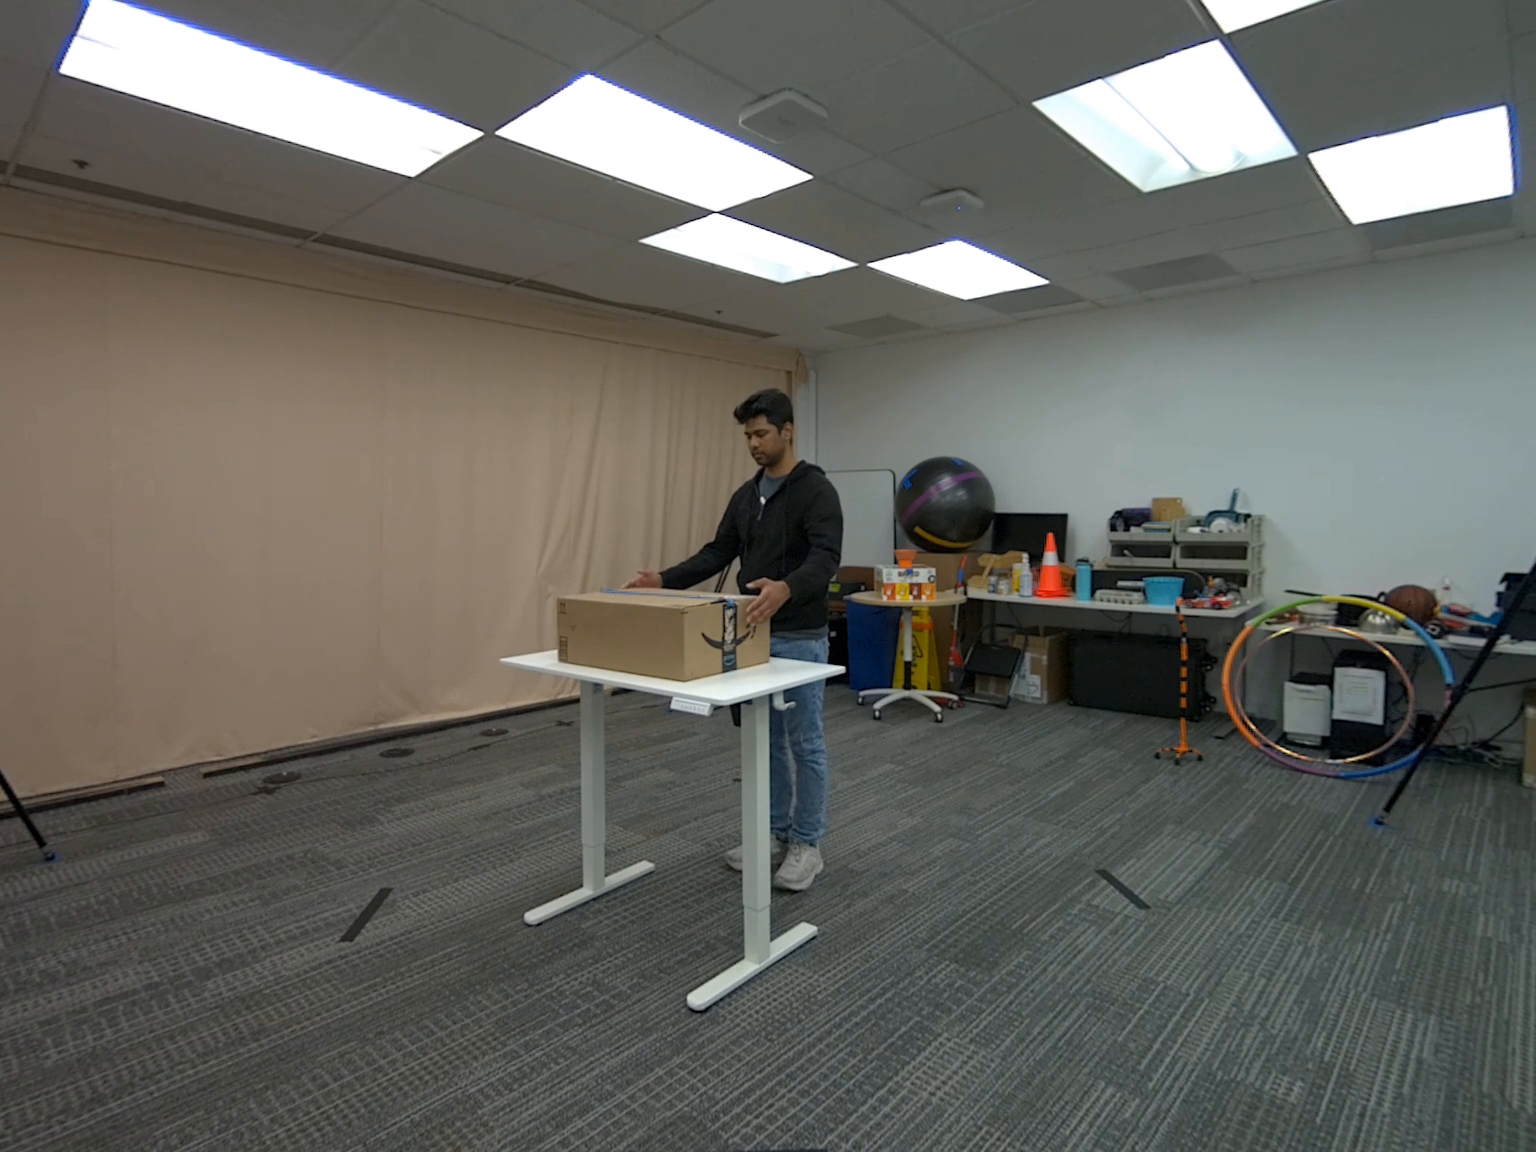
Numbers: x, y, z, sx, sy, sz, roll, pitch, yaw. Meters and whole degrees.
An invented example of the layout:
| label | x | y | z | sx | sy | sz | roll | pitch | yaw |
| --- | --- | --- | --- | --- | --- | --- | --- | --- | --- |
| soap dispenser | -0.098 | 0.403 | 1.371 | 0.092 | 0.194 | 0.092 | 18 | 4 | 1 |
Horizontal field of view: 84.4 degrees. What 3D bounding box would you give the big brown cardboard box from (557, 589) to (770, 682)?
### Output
| label | x | y | z | sx | sy | sz | roll | pitch | yaw |
| --- | --- | --- | --- | --- | --- | --- | --- | --- | --- |
| big brown cardboard box | -0.344 | 0.175 | 2.754 | 0.608 | 0.233 | 0.405 | 2 | 4 | 38 |
